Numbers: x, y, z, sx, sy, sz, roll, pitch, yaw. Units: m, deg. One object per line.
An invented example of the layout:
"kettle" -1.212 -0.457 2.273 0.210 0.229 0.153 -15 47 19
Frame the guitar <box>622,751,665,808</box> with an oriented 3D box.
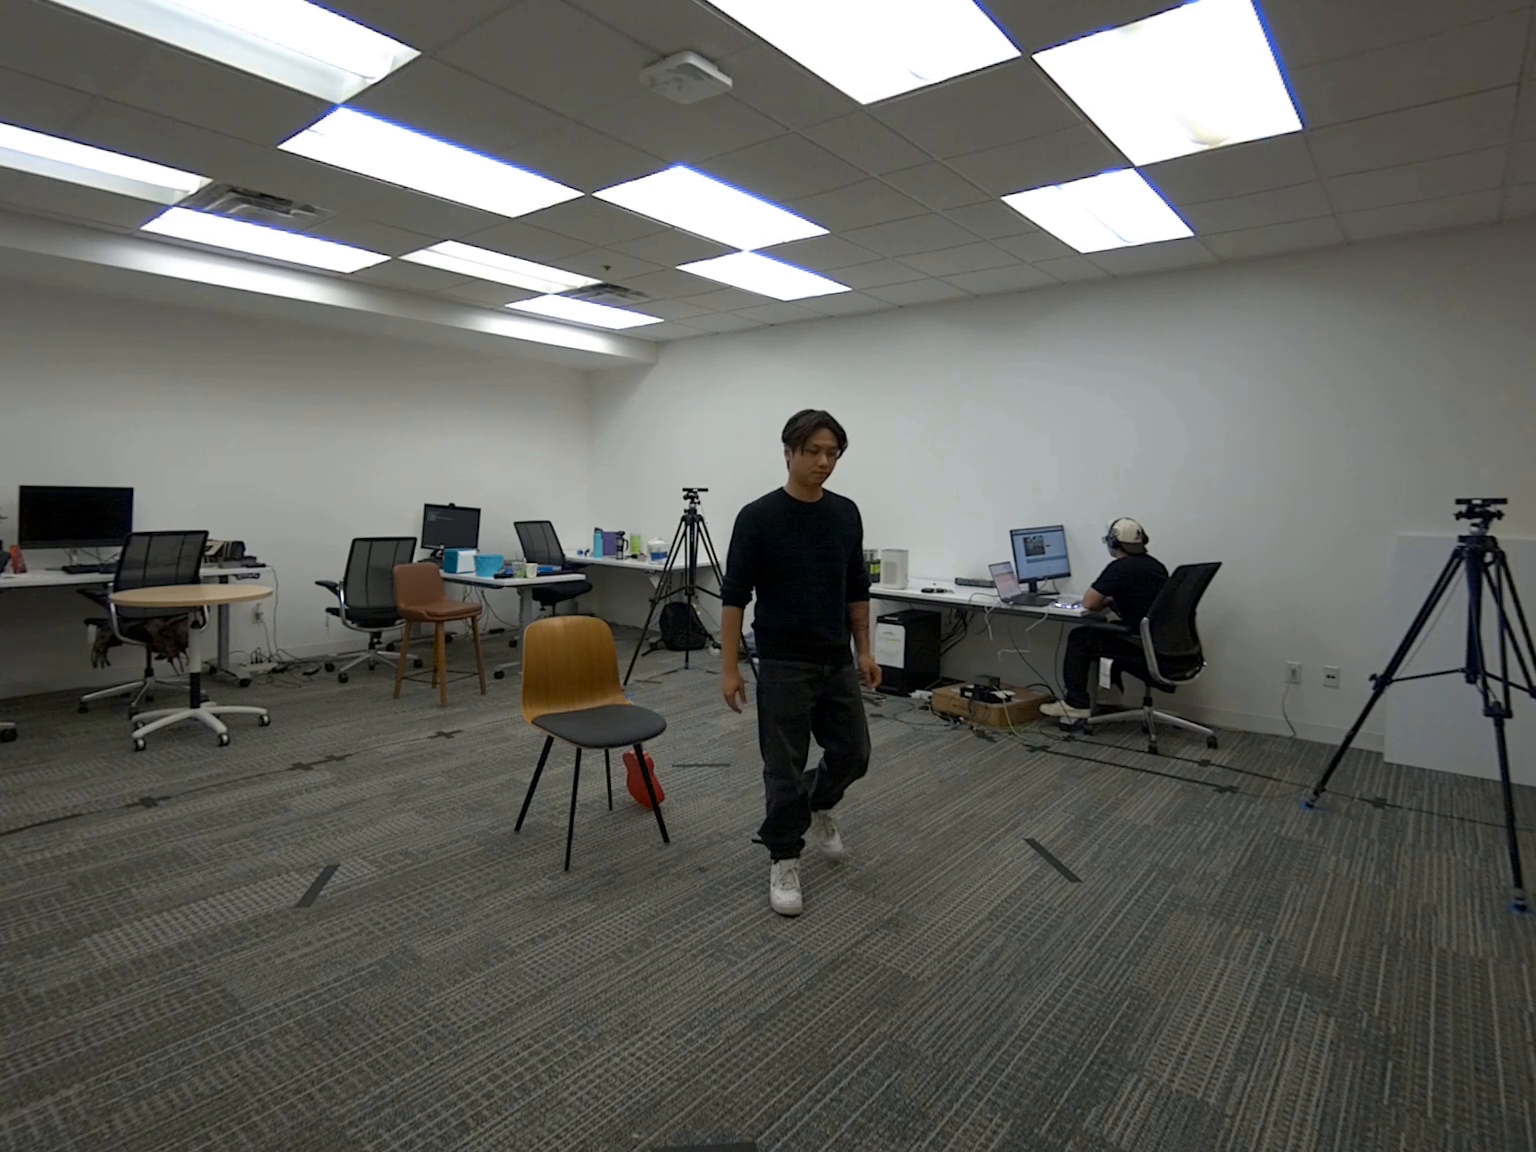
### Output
"guitar" -0.591 0.762 3.682 0.069 0.490 0.199 -25 17 -38
